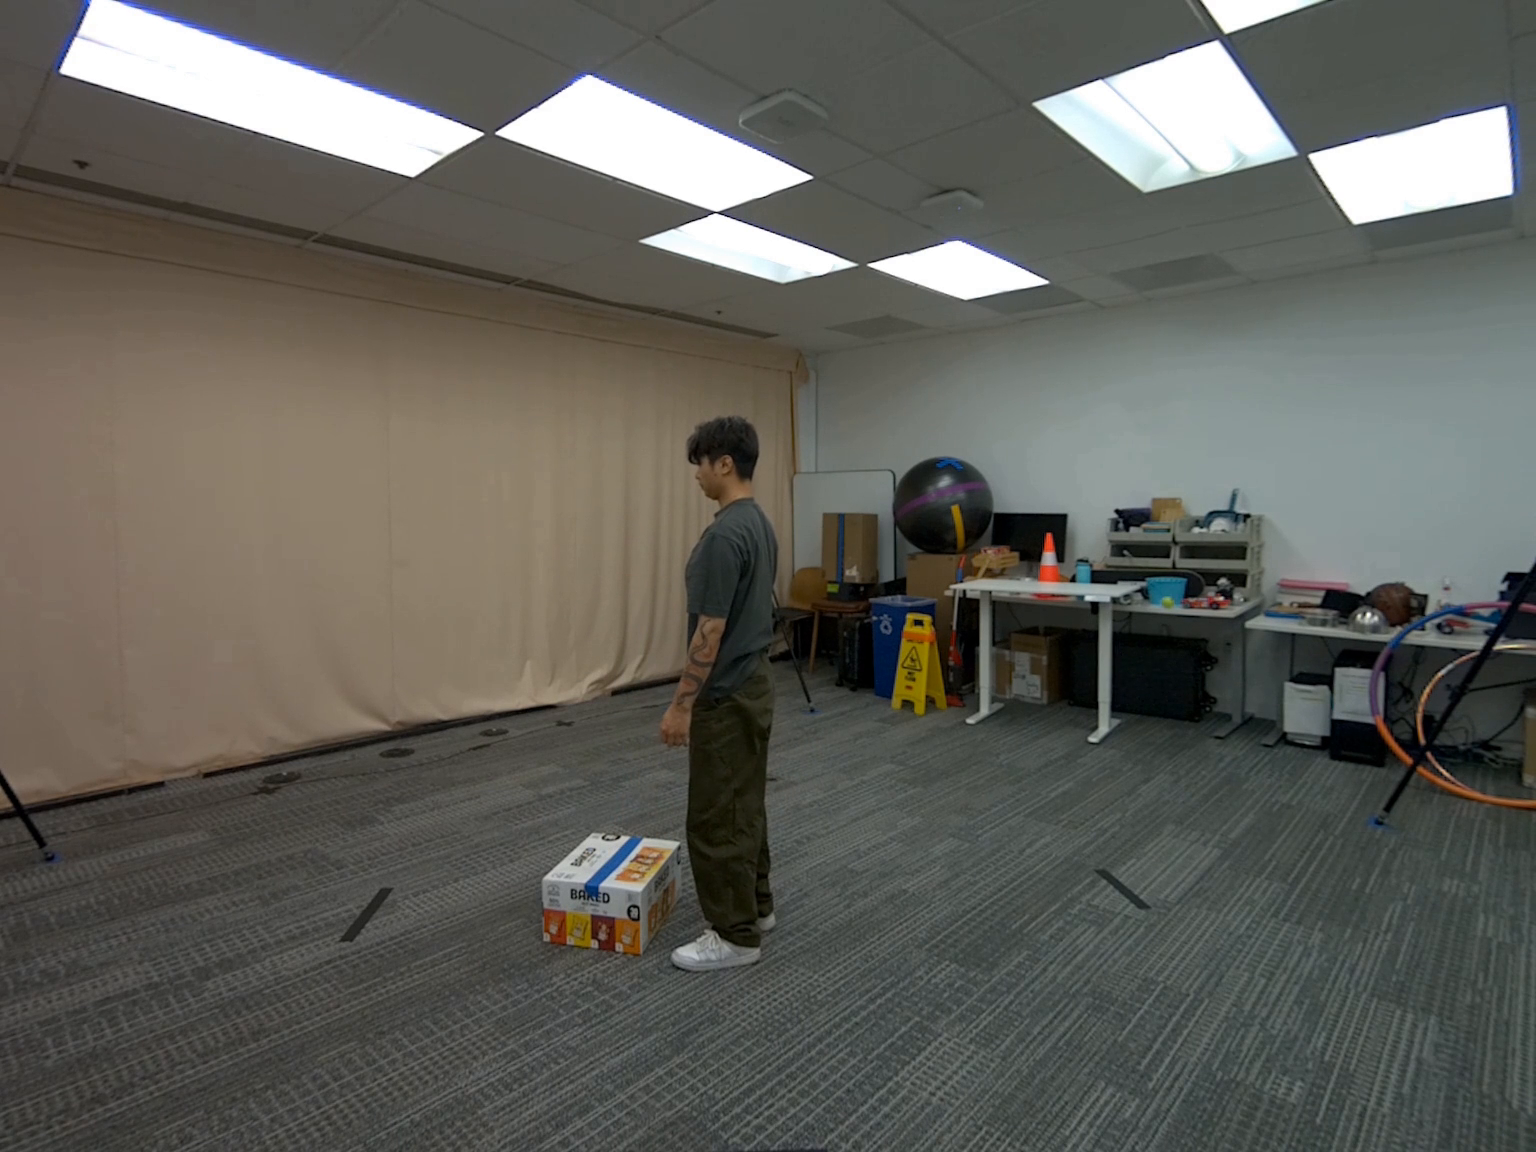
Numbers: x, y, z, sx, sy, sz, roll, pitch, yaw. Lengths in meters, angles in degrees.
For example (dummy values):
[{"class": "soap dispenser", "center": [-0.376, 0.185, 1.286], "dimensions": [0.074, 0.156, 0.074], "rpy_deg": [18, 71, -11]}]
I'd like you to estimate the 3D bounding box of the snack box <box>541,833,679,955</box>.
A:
[{"class": "snack box", "center": [-0.519, 1.063, 2.833], "dimensions": [0.346, 0.205, 0.400], "rpy_deg": [1, 5, 14]}]
